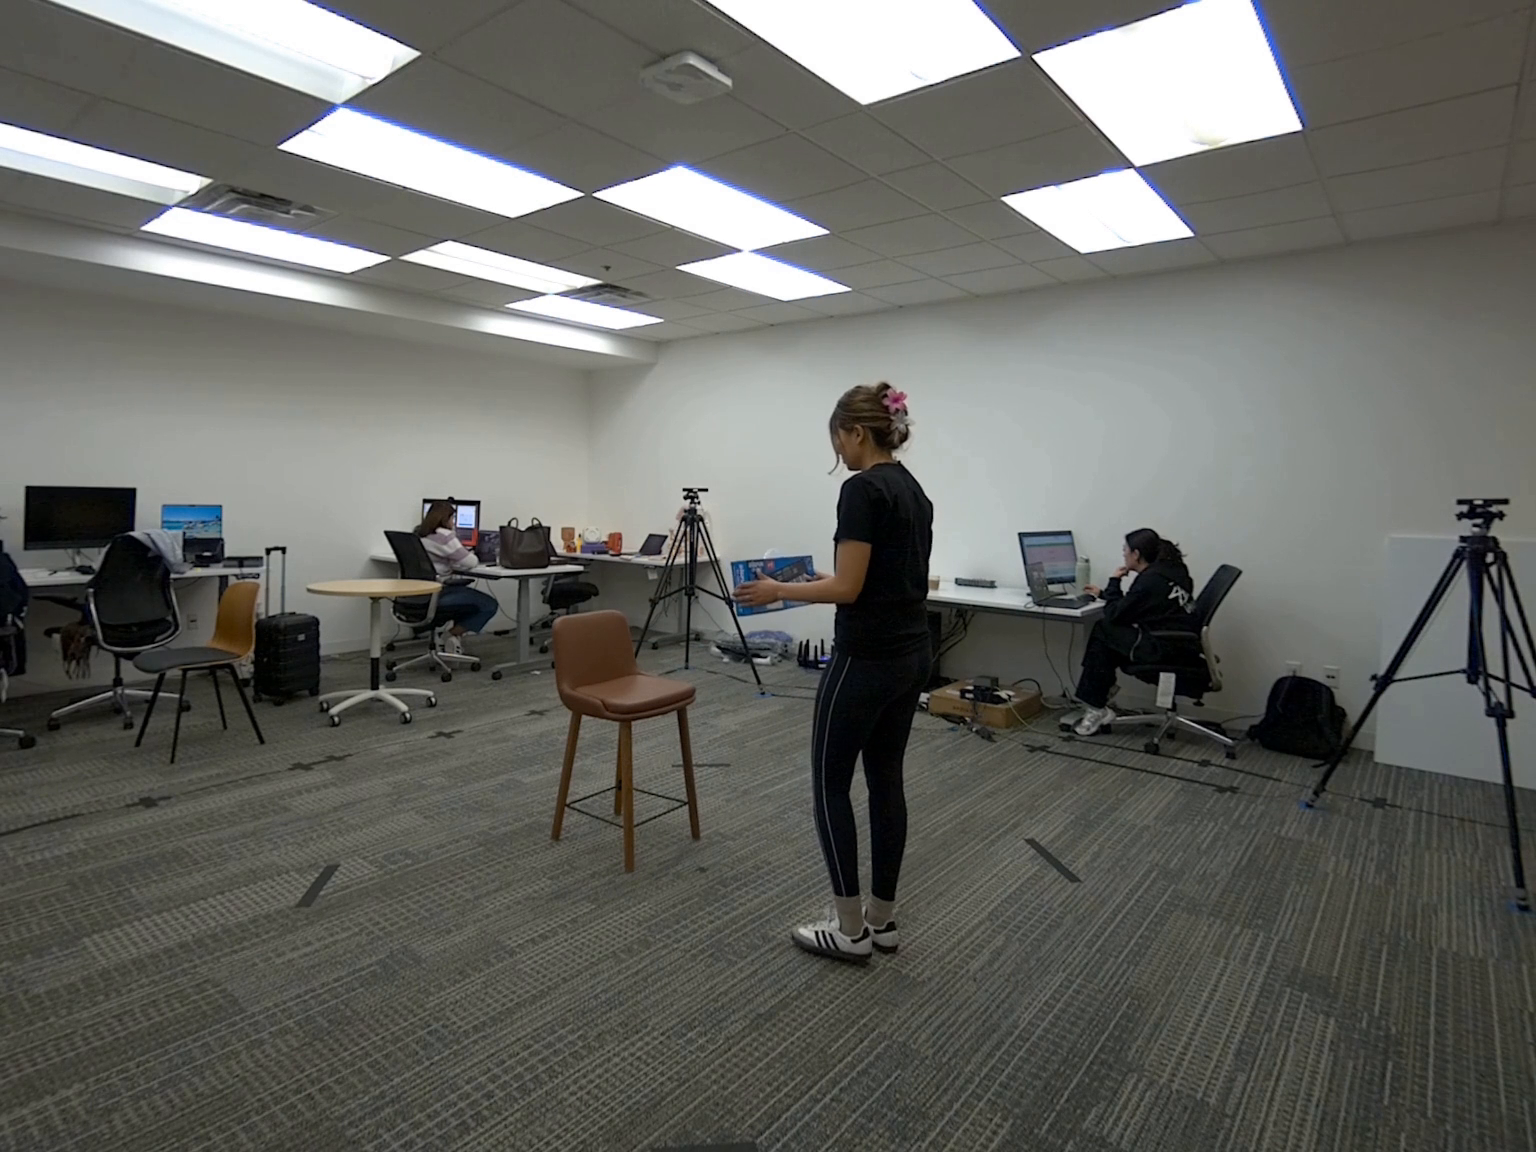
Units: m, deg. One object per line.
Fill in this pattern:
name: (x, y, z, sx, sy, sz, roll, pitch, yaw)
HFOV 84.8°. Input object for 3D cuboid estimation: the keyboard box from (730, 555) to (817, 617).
keyboard box: (0.015, 0.023, 2.816, 0.060, 0.176, 0.425, -7, 0, 31)
